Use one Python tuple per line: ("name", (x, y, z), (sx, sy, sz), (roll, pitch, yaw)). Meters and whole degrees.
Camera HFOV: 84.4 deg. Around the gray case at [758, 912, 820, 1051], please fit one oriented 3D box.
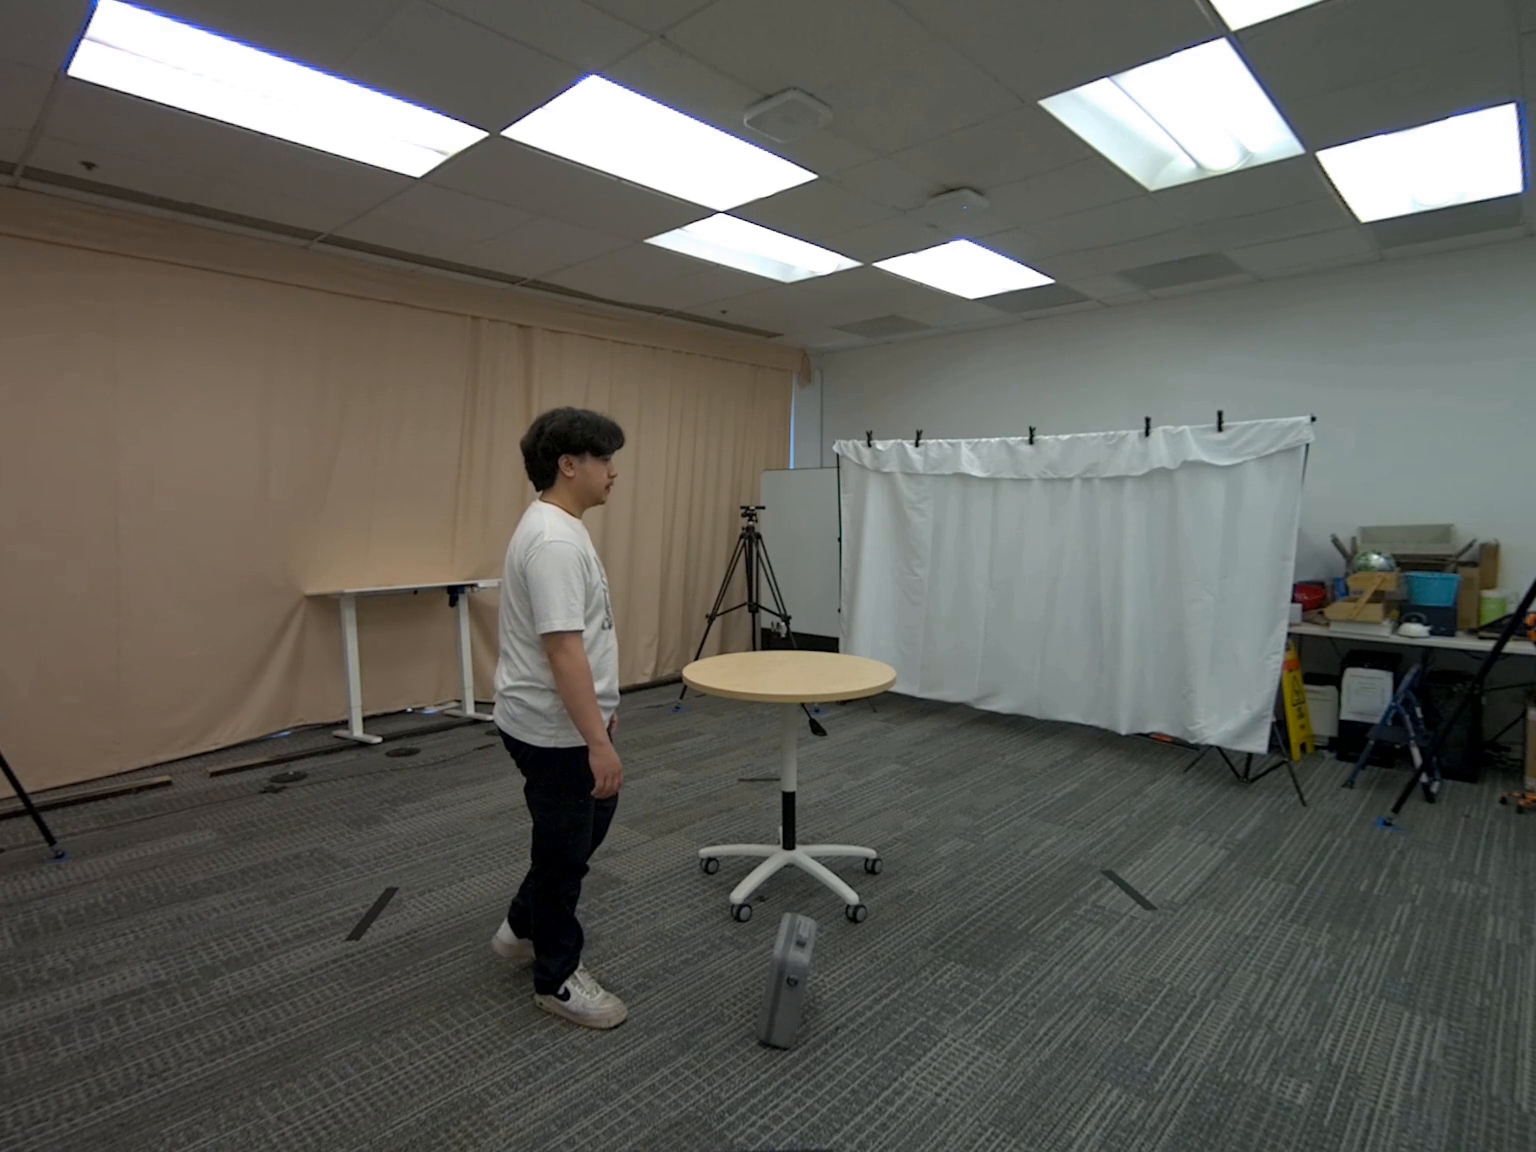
("gray case", (0.057, 1.082, 2.244), (0.105, 0.260, 0.255), (9, 5, 6))
